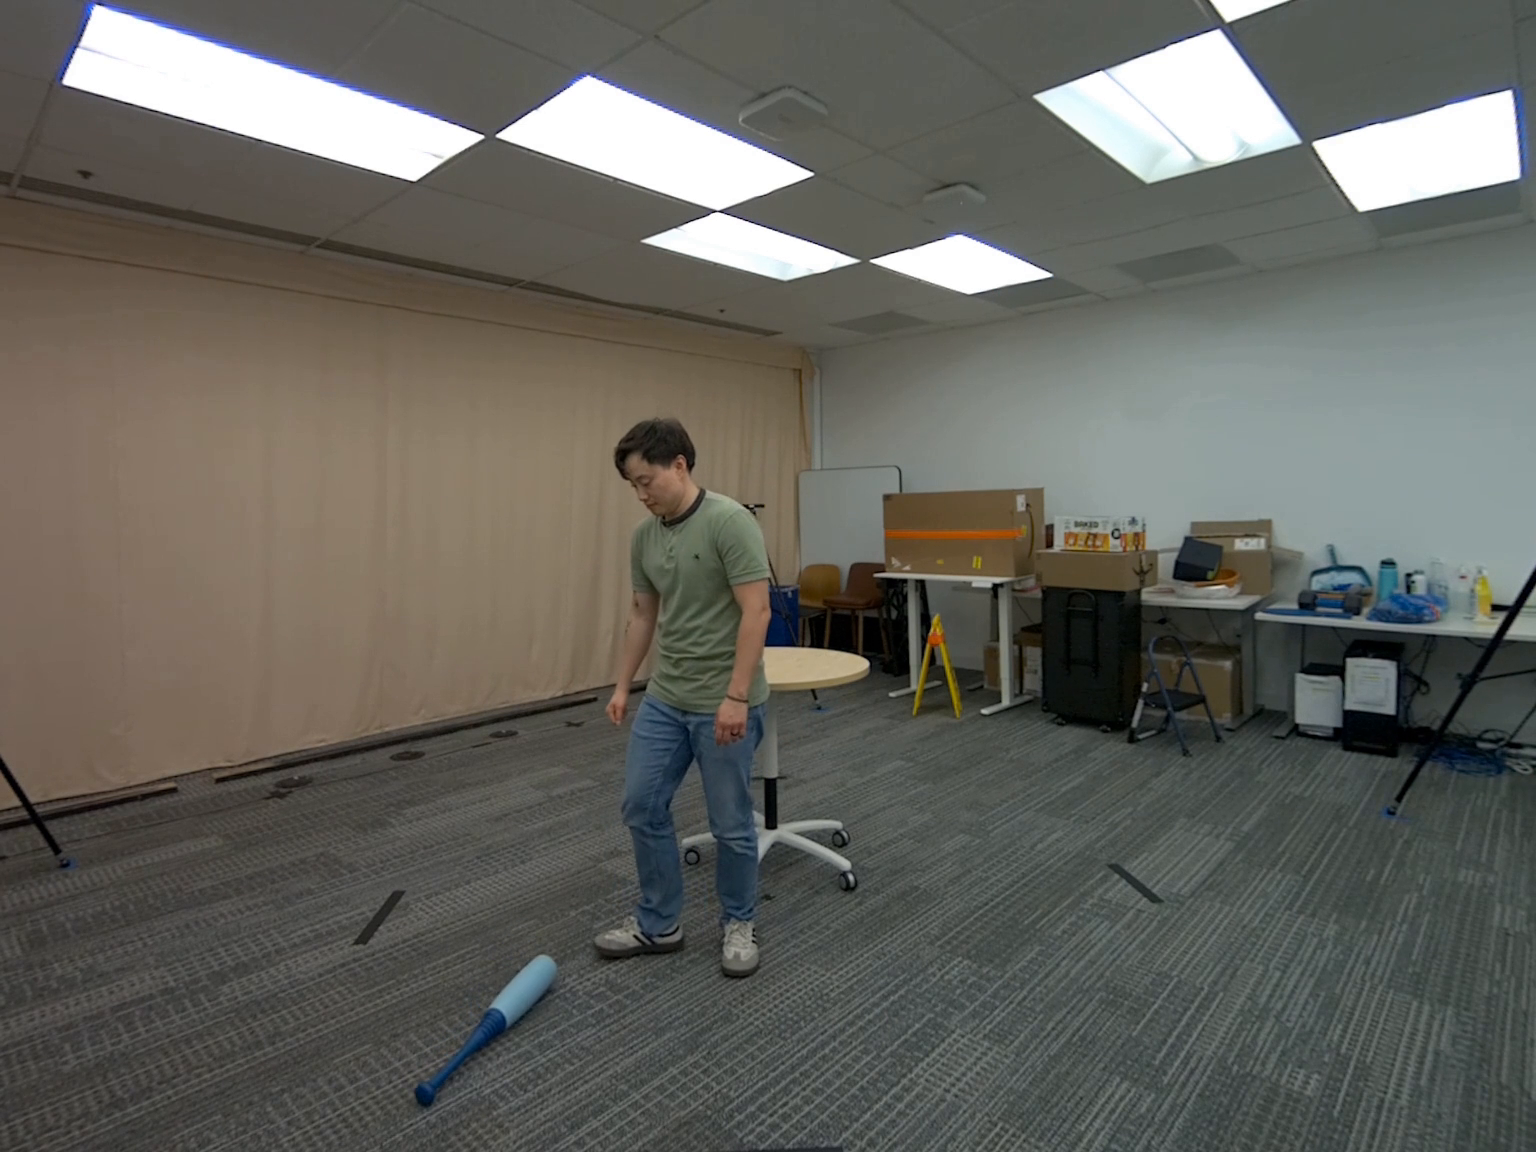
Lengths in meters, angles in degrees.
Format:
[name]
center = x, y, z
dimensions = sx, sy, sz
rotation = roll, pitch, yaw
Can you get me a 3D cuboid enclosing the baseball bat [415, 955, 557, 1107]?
[baseball bat]
center = -0.732, 1.187, 2.210
dimensions = 0.091, 0.088, 0.534
rotation = 0, 8, 18
